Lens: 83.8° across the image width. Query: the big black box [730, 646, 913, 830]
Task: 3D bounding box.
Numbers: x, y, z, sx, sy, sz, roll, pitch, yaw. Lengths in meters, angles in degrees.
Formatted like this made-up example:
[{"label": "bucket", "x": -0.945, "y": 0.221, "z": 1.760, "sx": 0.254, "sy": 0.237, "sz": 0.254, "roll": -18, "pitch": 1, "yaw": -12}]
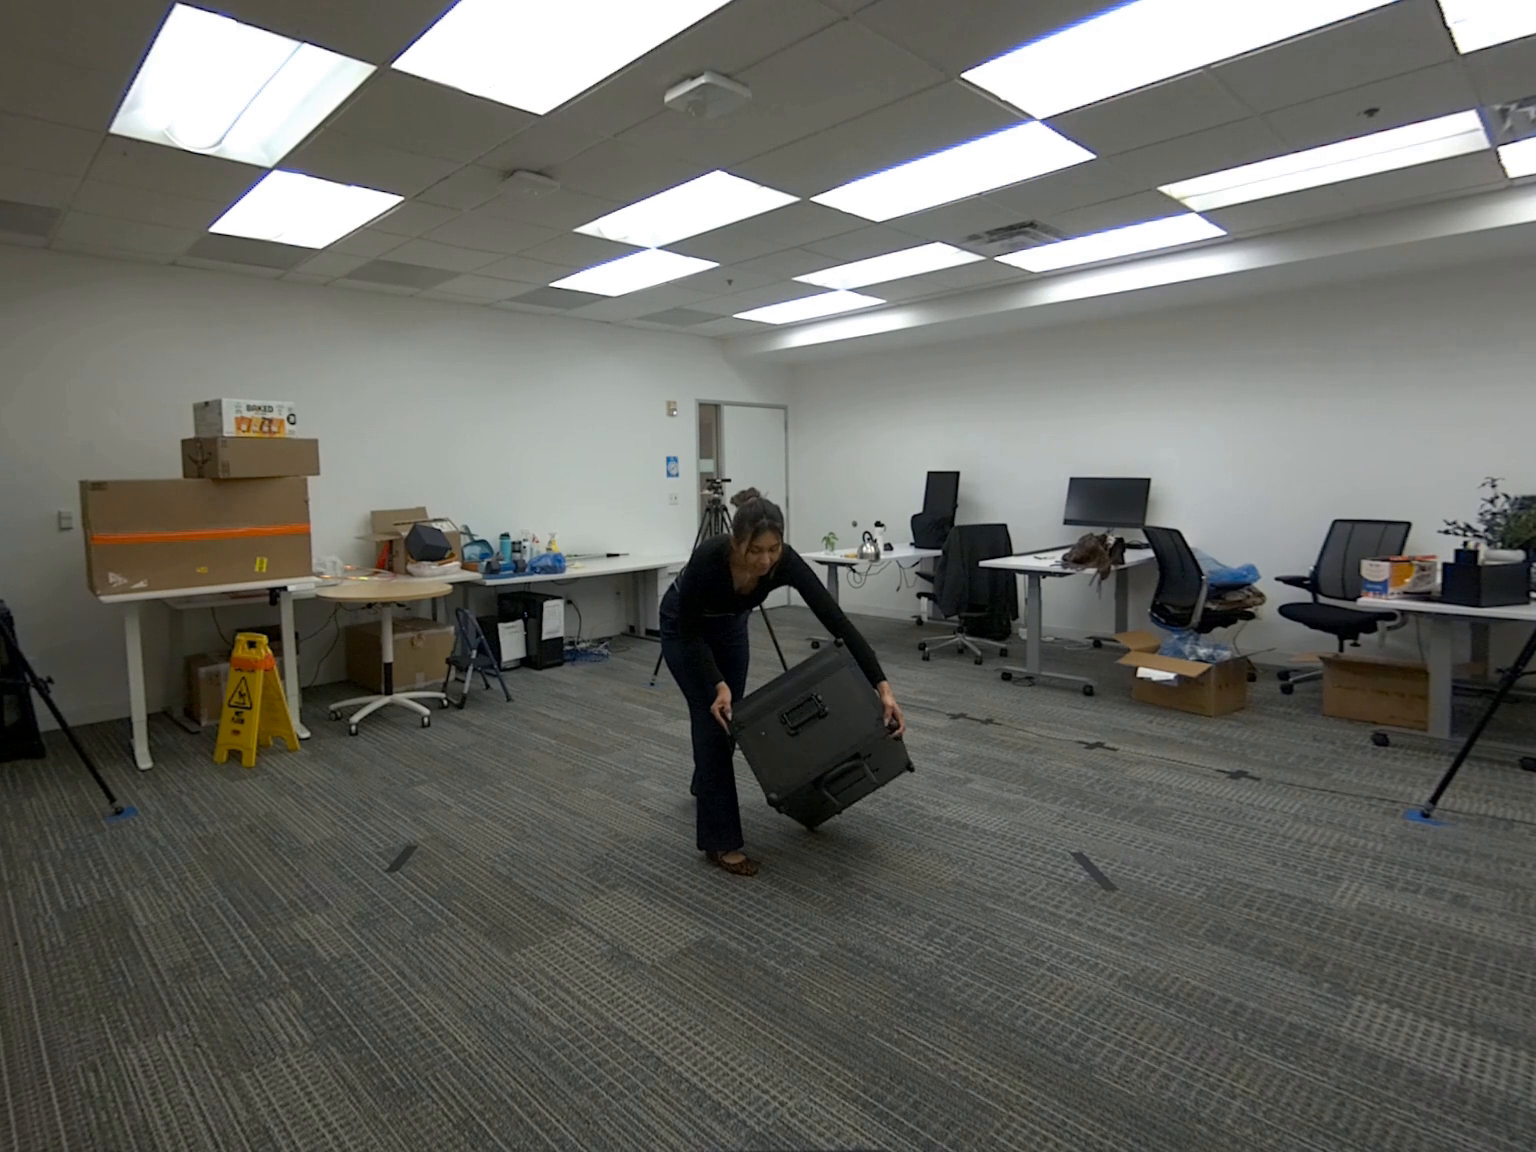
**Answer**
[{"label": "big black box", "x": 0.223, "y": 0.637, "z": 3.170, "sx": 0.521, "sy": 0.409, "sz": 0.835, "roll": -32, "pitch": -25, "yaw": -1}]
